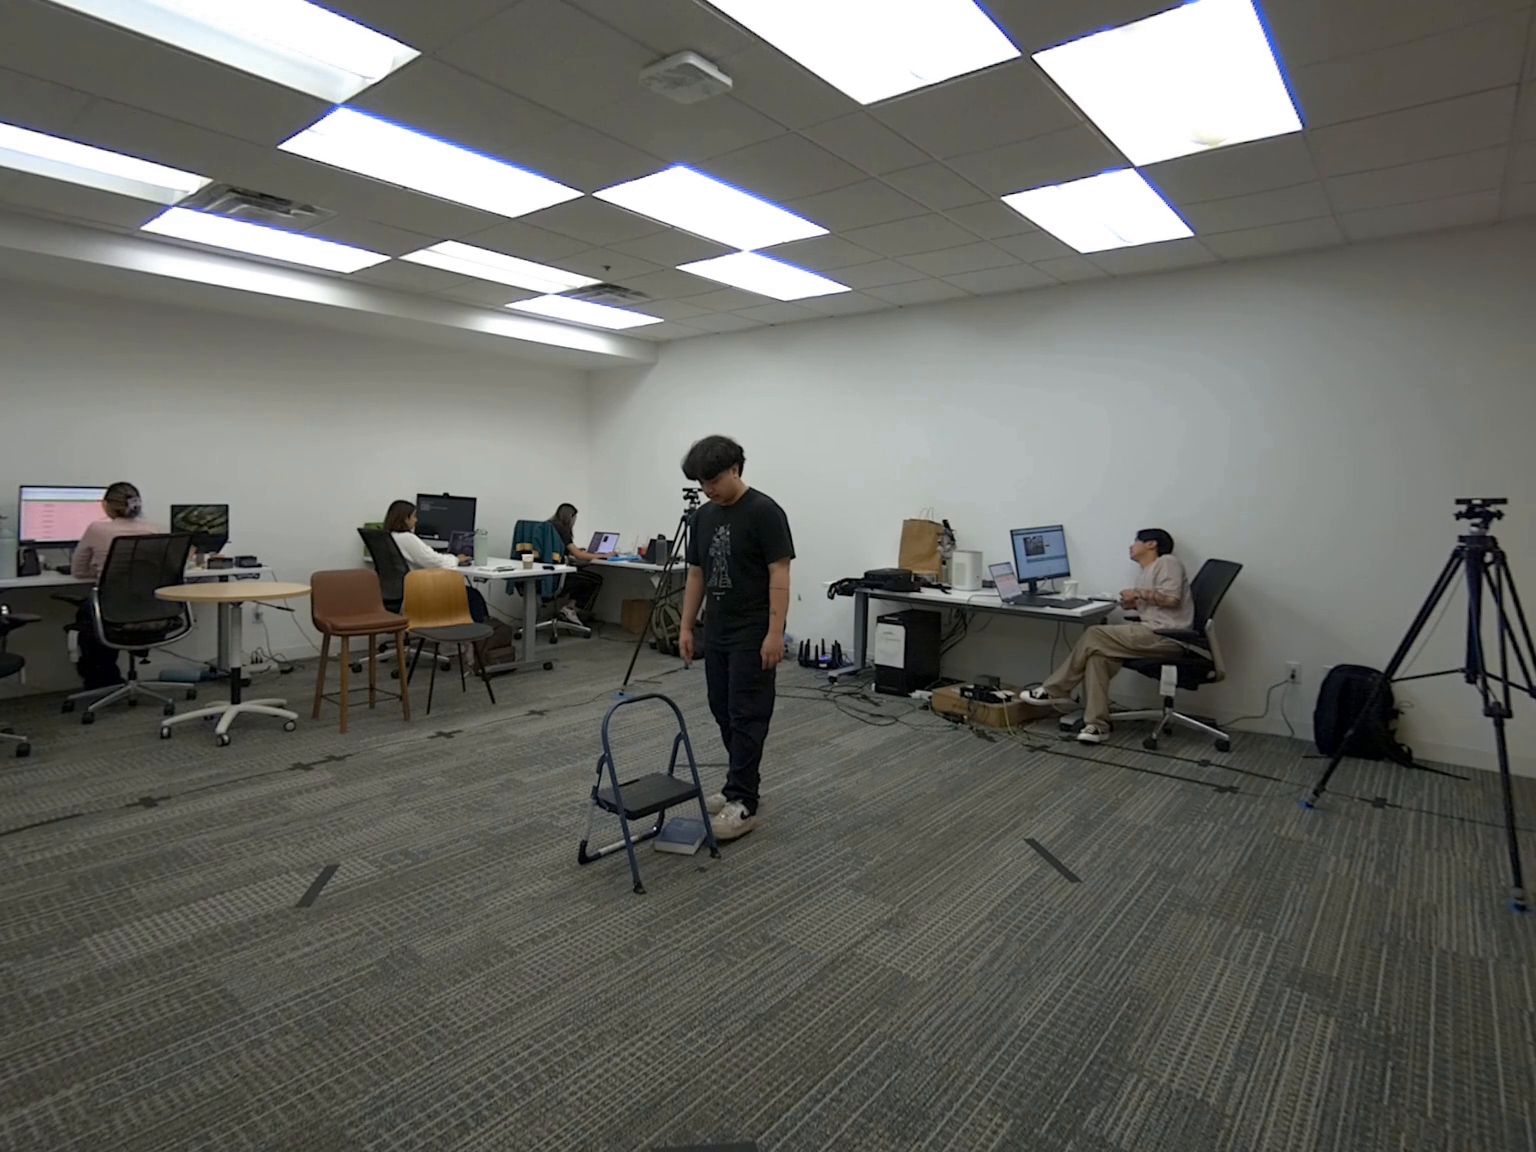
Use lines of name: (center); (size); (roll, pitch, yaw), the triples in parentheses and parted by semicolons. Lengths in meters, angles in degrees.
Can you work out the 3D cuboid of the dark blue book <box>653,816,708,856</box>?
dark blue book: (-0.345, 1.018, 3.365); (0.166, 0.045, 0.242); (1, 6, 12)
